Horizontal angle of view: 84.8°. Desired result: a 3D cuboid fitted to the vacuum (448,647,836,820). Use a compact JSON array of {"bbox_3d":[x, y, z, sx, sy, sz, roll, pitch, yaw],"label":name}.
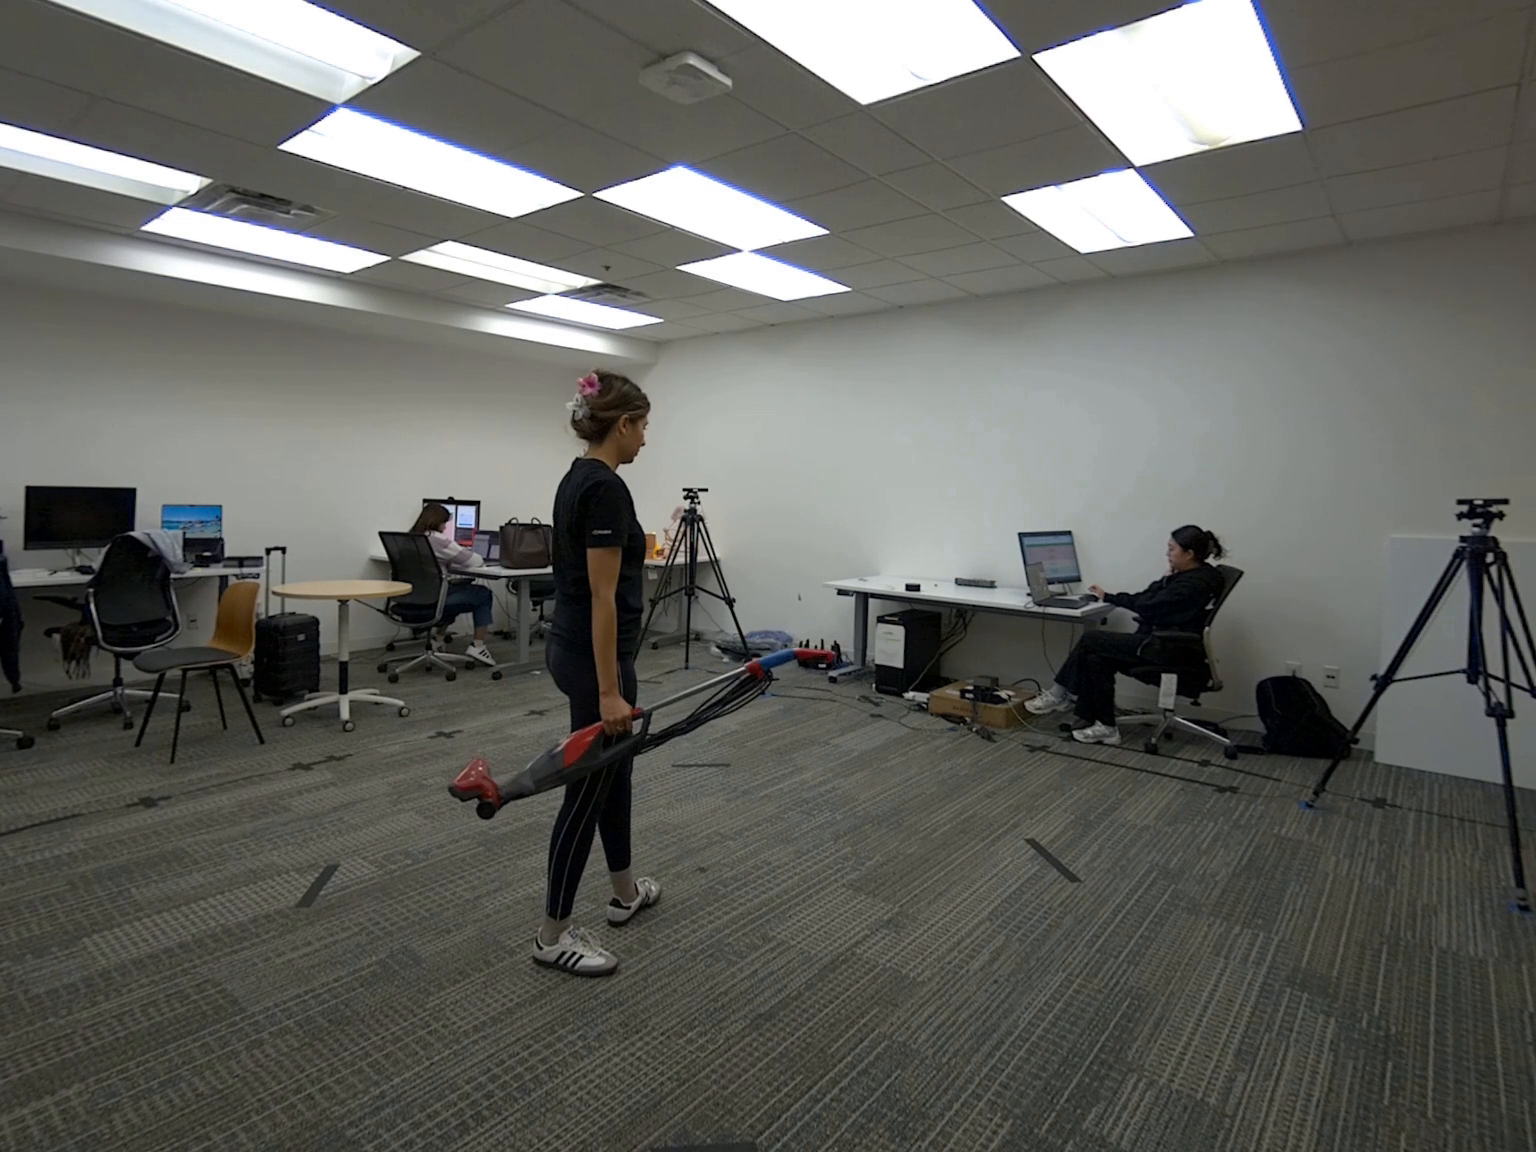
[{"bbox_3d":[-0.324,0.401,2.311,1.049,0.143,0.254,-22,5,0],"label":"vacuum"}]
